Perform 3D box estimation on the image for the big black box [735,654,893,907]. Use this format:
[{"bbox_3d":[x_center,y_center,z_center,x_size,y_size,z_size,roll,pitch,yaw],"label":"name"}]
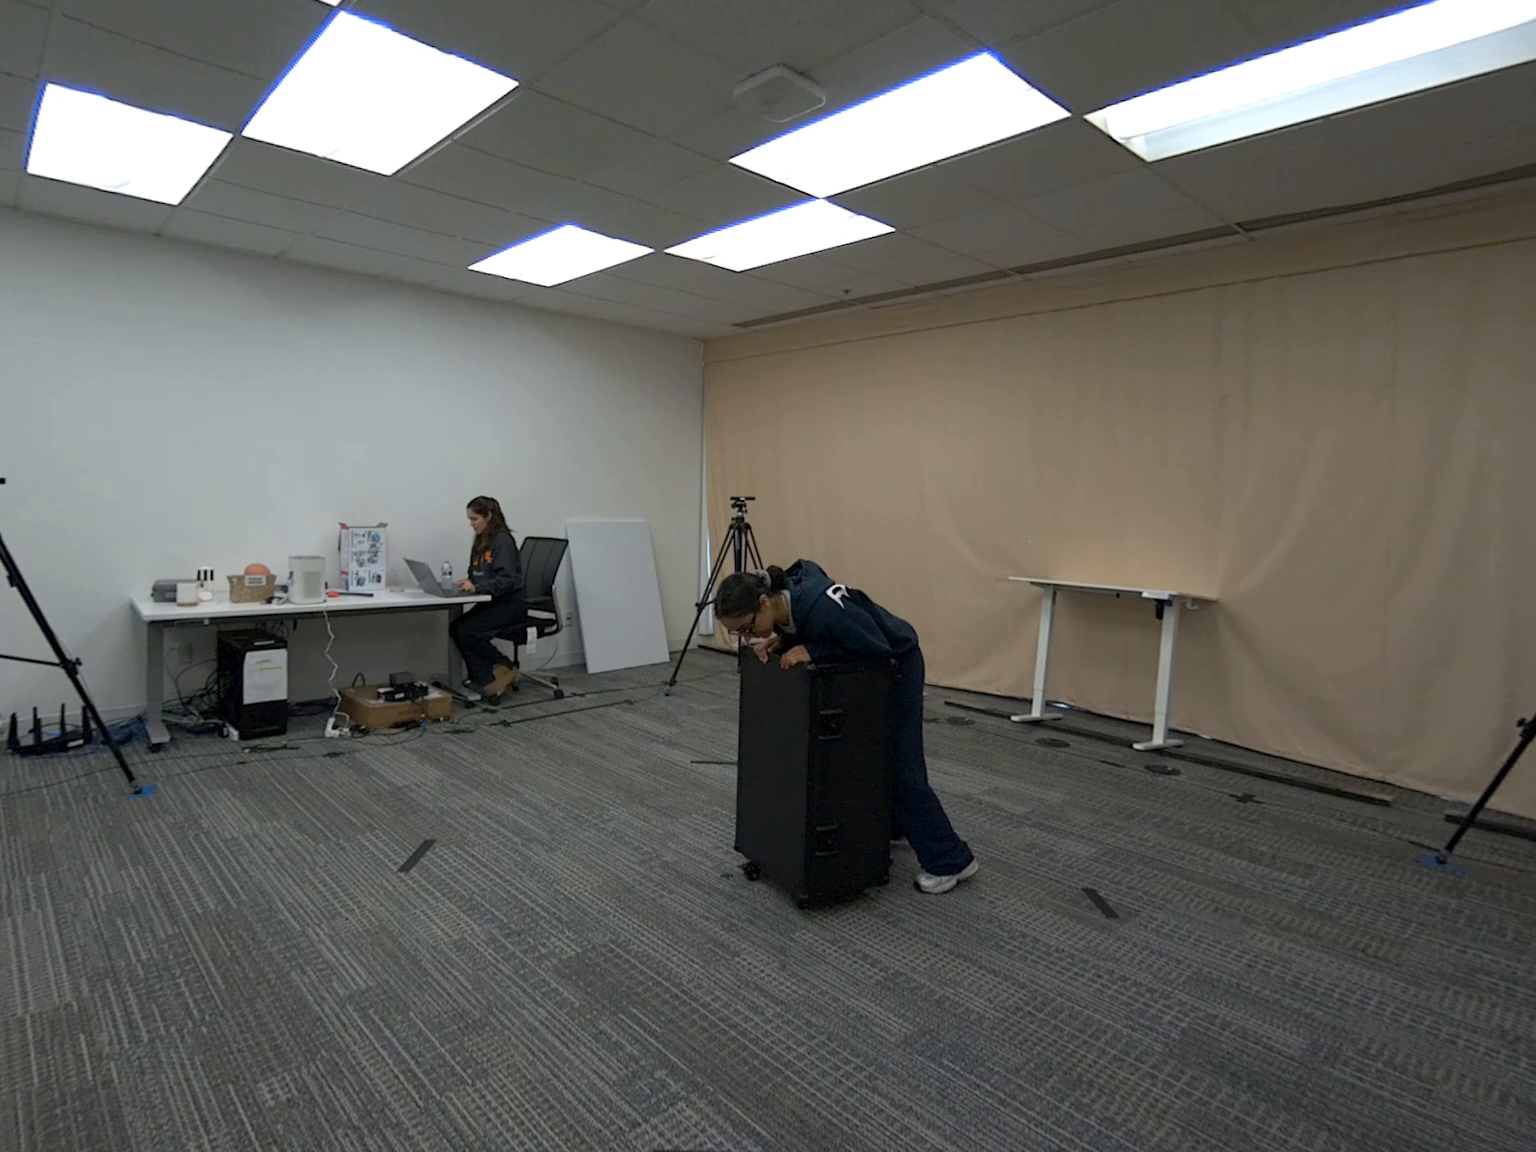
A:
[{"bbox_3d":[0.152,0.699,3.034,0.388,0.860,0.533,1,3,-30],"label":"big black box"}]
